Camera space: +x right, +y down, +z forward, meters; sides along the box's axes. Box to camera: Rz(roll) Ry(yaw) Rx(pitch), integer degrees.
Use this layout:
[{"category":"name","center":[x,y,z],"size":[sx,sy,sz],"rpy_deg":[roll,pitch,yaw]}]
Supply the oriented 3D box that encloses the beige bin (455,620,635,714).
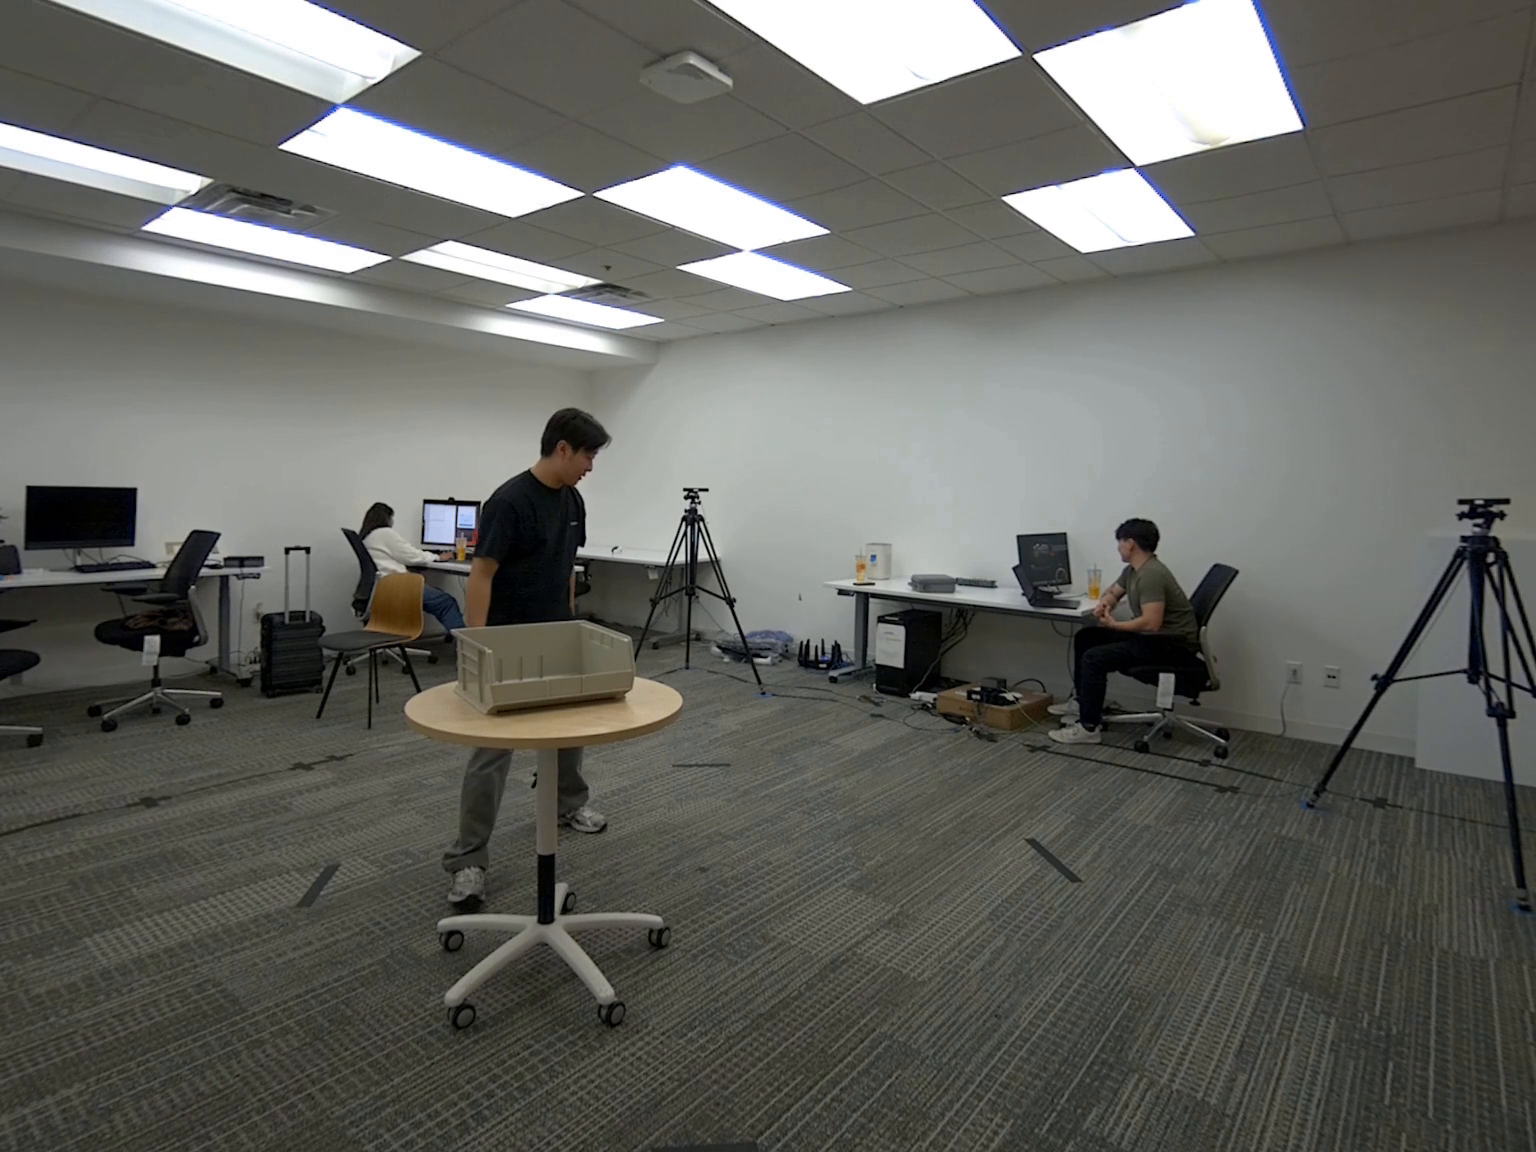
[{"category":"beige bin","center":[-0.660,0.256,2.448],"size":[0.410,0.188,0.389],"rpy_deg":[-2,5,-34]}]
